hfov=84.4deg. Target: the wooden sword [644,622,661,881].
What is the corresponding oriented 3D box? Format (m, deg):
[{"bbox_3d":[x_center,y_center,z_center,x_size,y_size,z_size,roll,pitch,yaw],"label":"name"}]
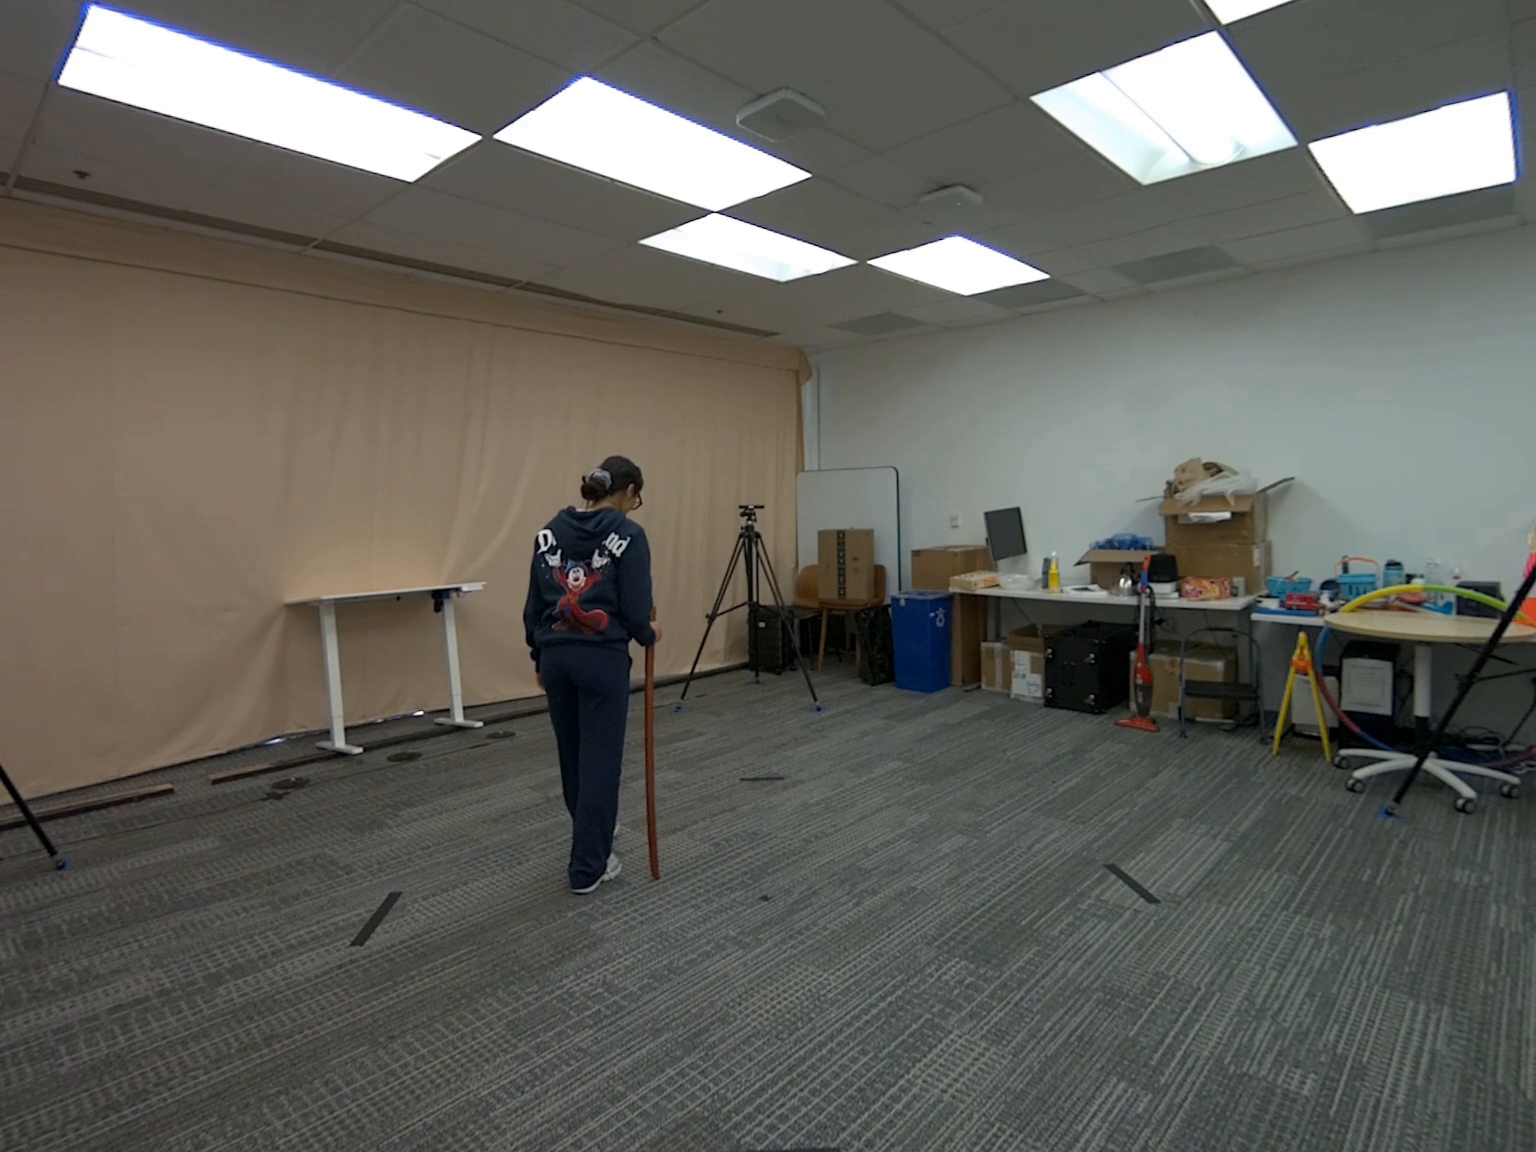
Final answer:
[{"bbox_3d":[-0.451,0.640,3.245,0.024,1.034,0.050,-9,-14,23],"label":"wooden sword"}]
